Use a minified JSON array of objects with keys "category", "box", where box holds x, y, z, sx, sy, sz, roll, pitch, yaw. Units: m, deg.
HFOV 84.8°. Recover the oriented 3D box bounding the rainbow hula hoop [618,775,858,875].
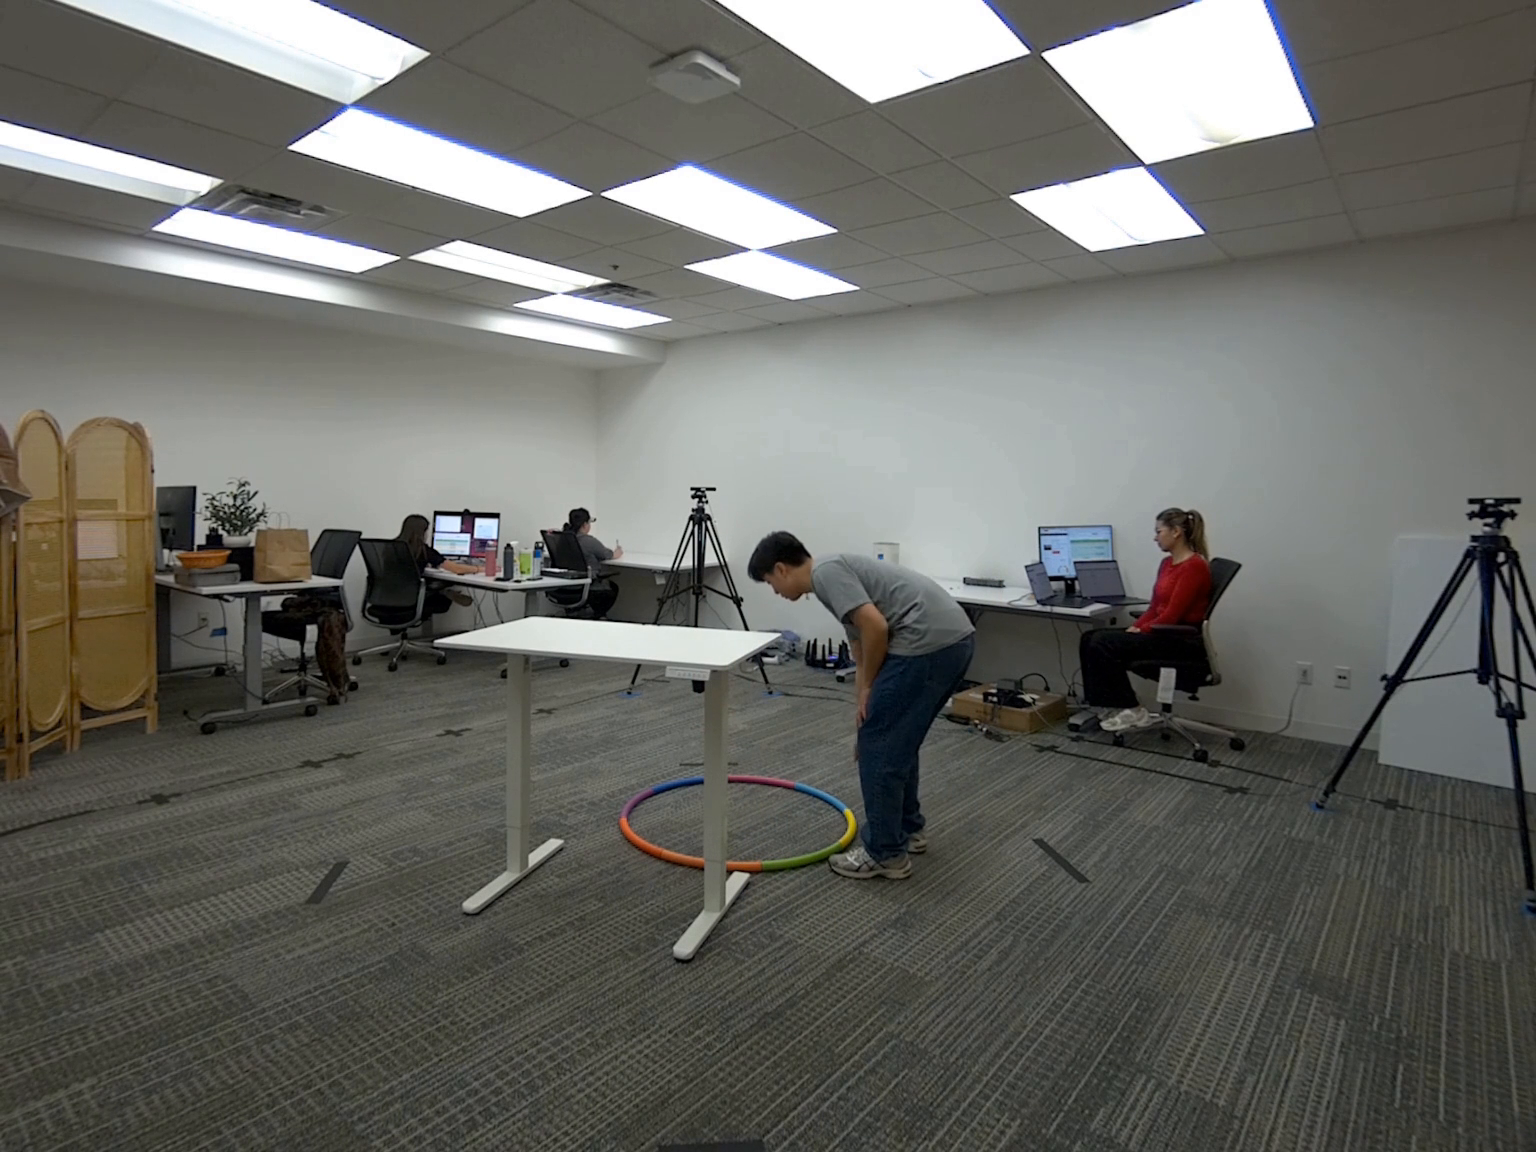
[{"category":"rainbow hula hoop","box":[-0.134,0.995,3.550,0.978,0.035,0.984,1,6,-2]}]
